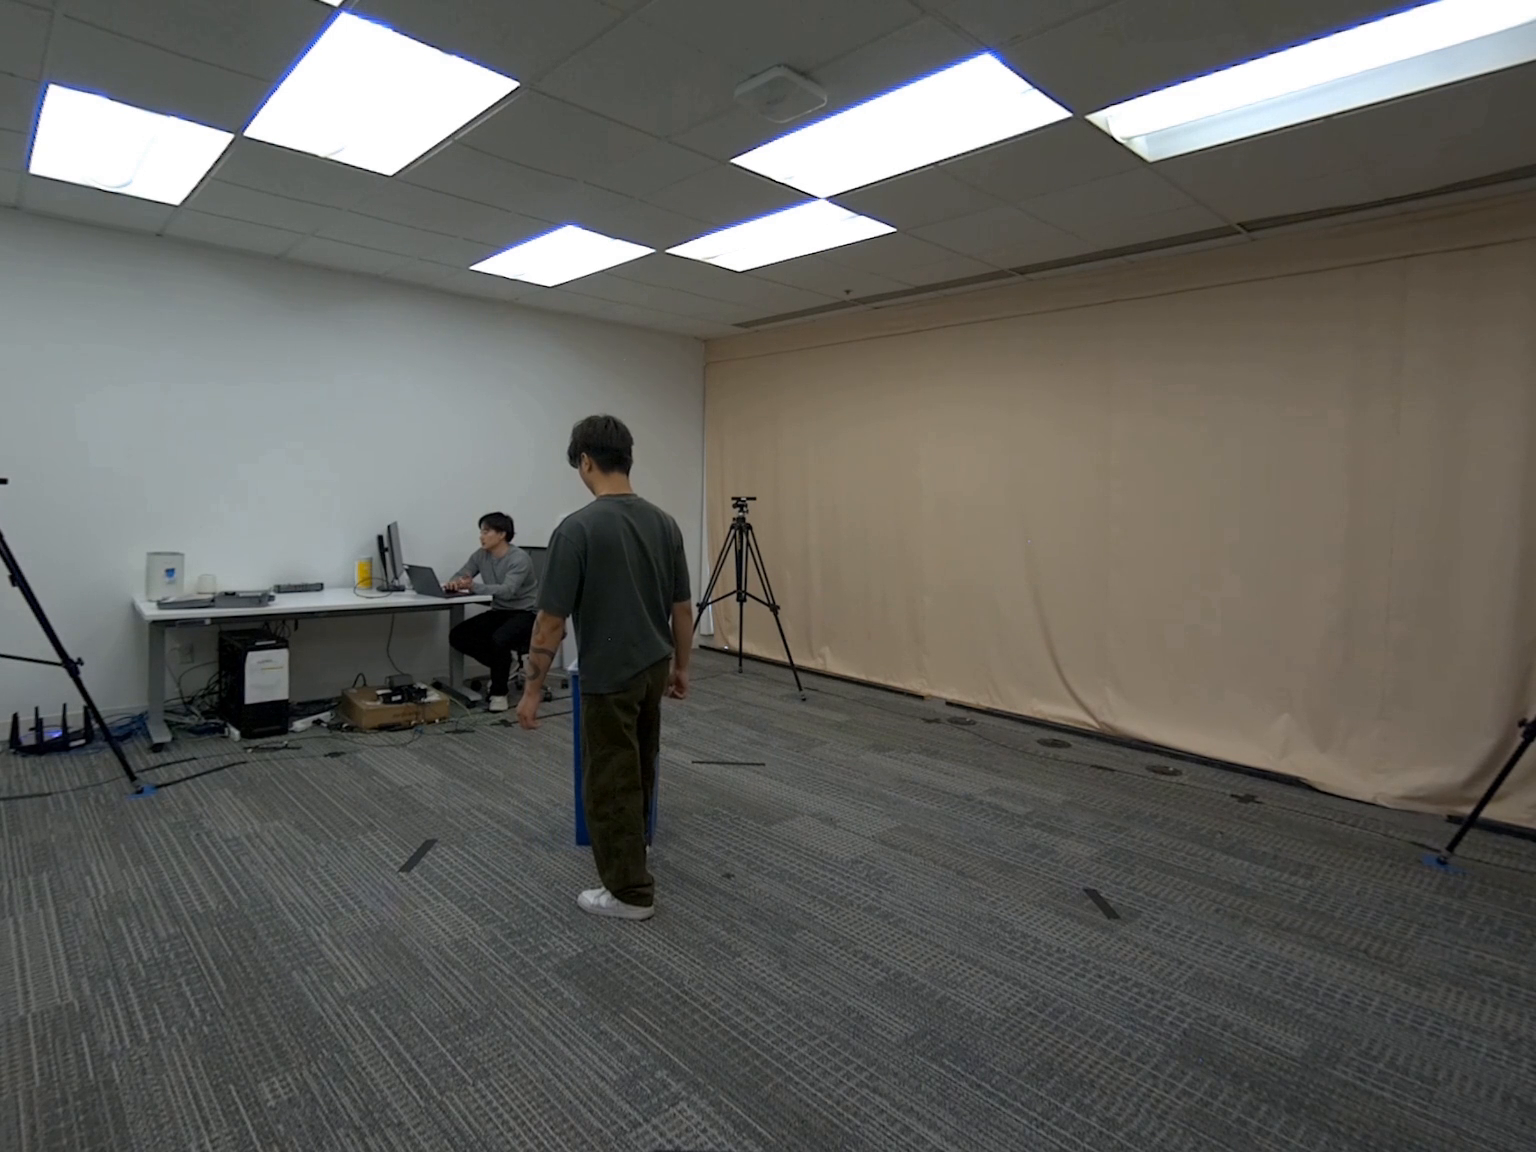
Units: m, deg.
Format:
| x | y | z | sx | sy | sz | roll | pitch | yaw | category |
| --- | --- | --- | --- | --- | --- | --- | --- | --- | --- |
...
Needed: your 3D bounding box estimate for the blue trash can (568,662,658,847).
| x | y | z | sx | sy | sz | roll | pitch | yaw | category |
| --- | --- | --- | --- | --- | --- | --- | --- | --- | --- |
| -0.619 | 0.710 | 3.471 | 0.378 | 0.713 | 0.375 | 1 | 2 | -1 | blue trash can |
